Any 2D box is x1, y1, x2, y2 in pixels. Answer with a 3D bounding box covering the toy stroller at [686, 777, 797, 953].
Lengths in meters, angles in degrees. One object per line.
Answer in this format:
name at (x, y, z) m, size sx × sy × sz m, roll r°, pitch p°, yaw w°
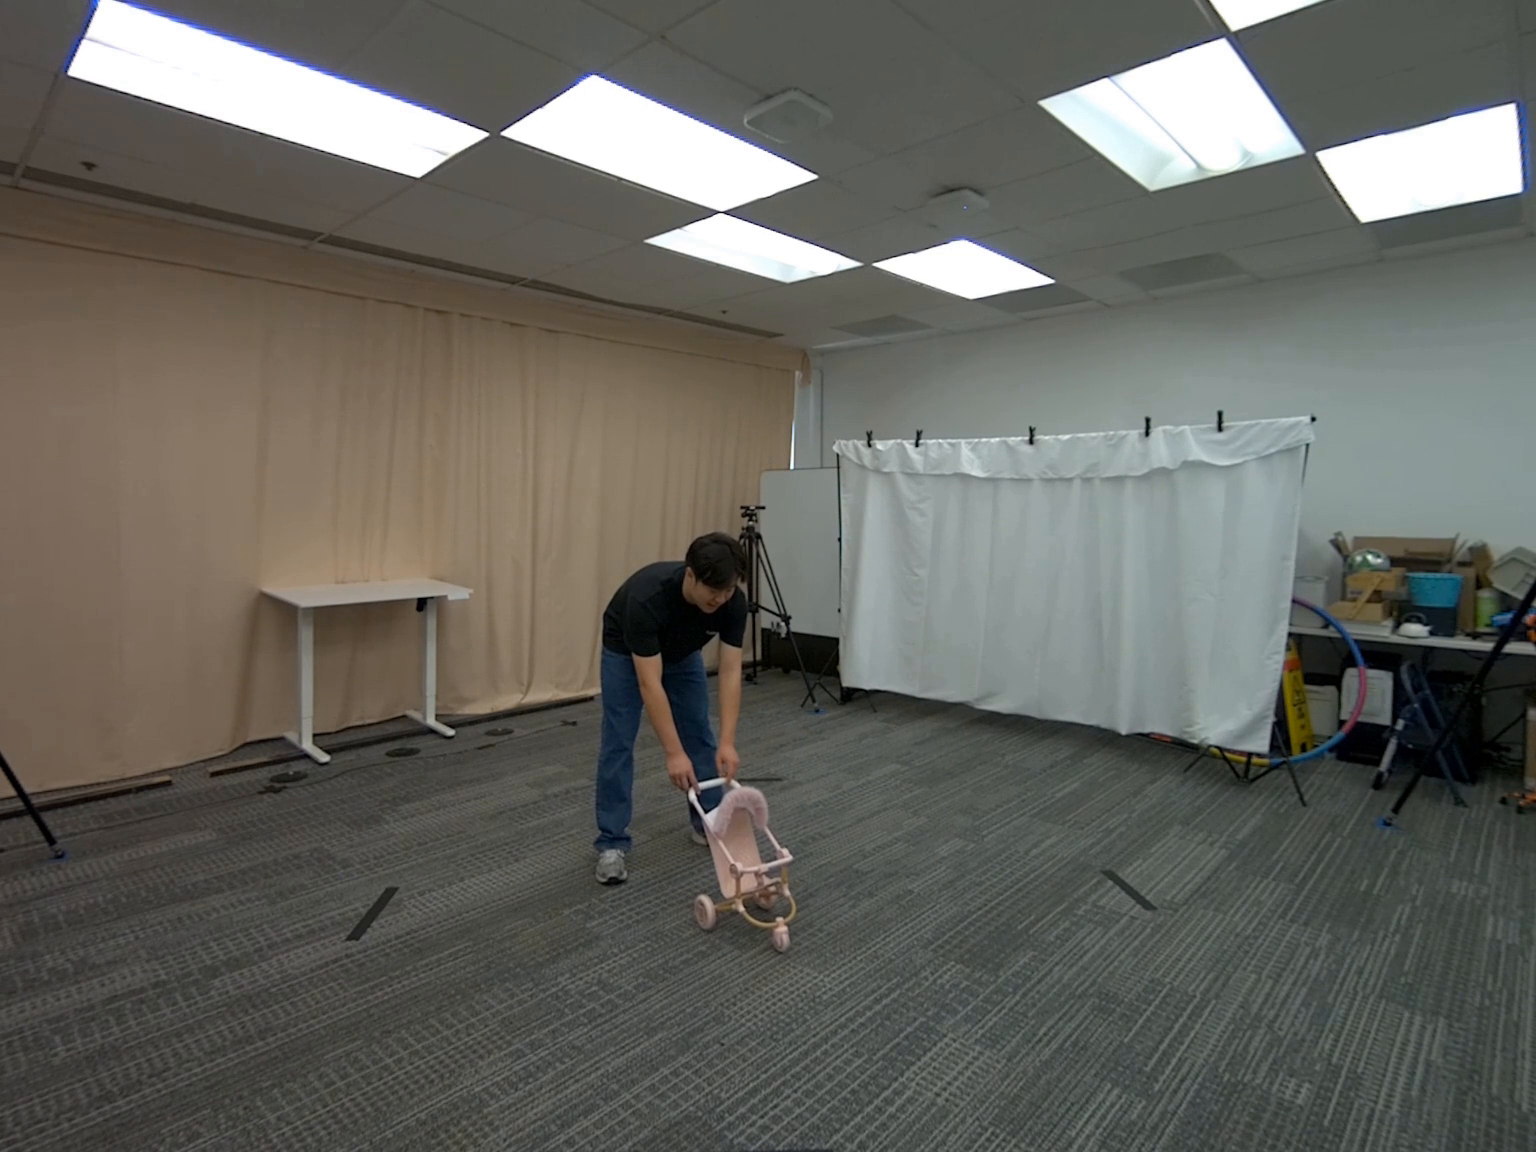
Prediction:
toy stroller at (-0.070, 0.939, 2.779) m, size 0.274 × 0.540 × 0.348 m, roll -2°, pitch -13°, yaw -31°
